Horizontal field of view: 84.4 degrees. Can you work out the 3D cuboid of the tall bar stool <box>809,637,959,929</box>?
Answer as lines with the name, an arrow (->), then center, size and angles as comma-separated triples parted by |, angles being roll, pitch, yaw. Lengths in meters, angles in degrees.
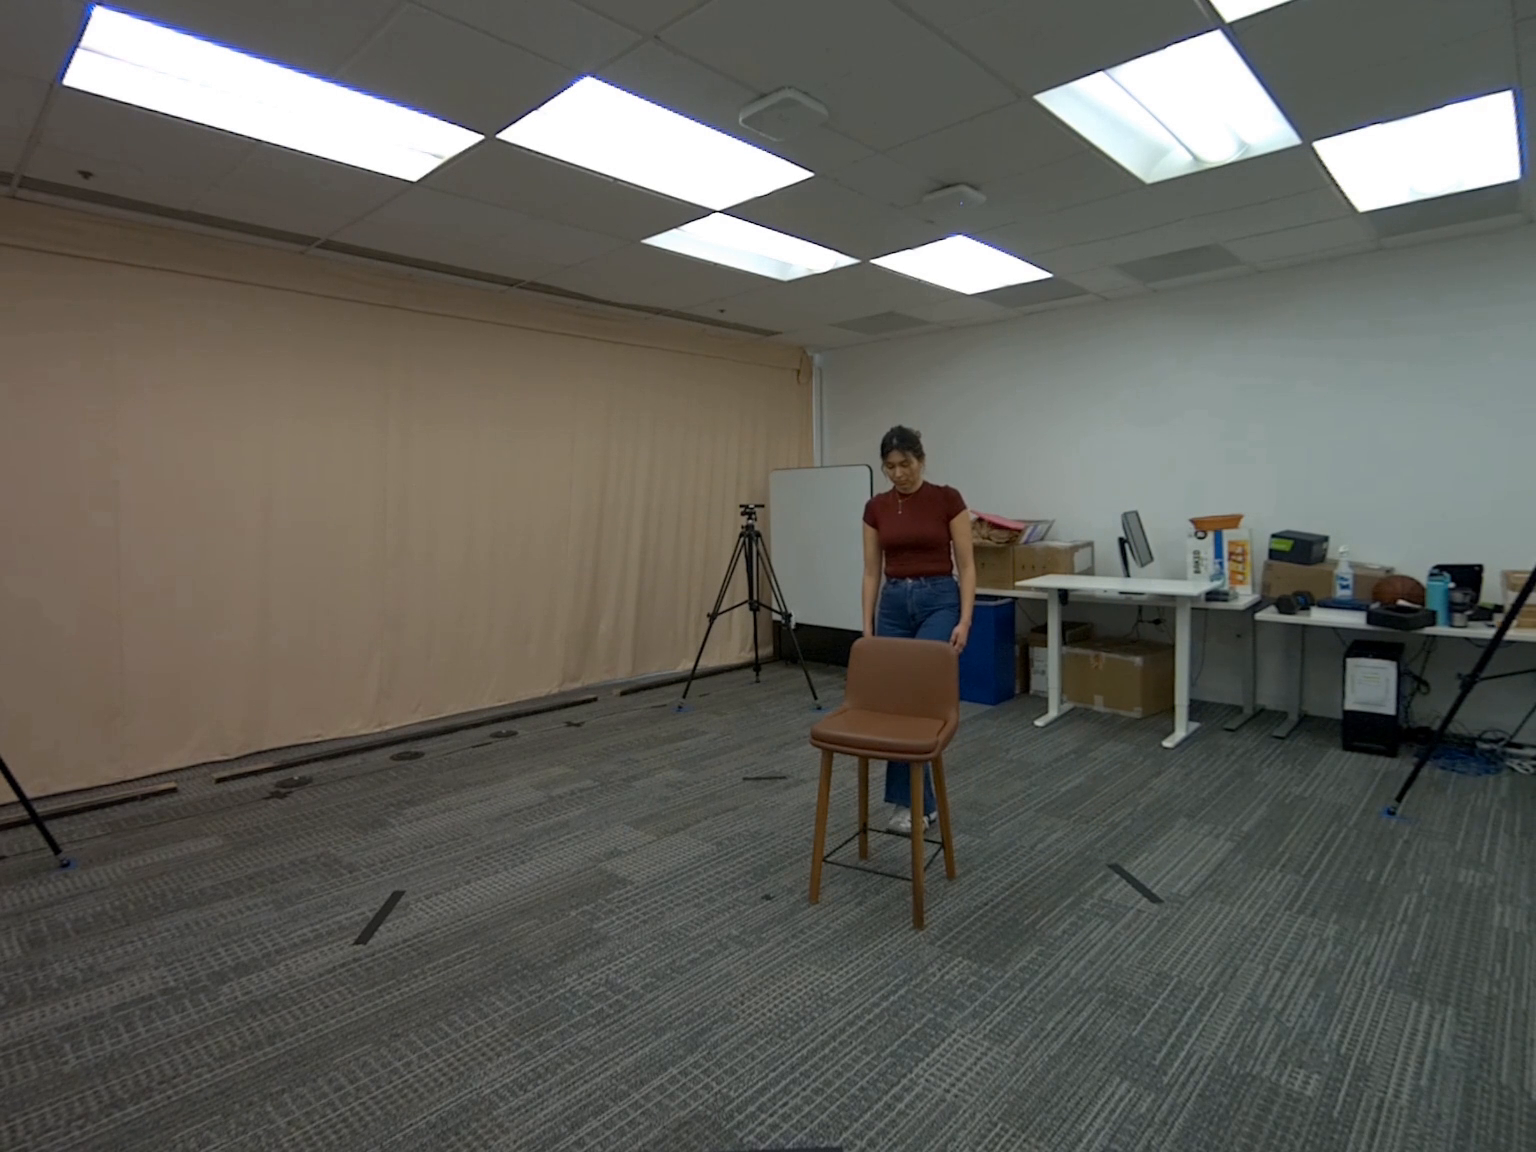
tall bar stool -> 0.429, 0.692, 3.008 | 0.470, 0.889, 0.454 | 2, 2, 31
